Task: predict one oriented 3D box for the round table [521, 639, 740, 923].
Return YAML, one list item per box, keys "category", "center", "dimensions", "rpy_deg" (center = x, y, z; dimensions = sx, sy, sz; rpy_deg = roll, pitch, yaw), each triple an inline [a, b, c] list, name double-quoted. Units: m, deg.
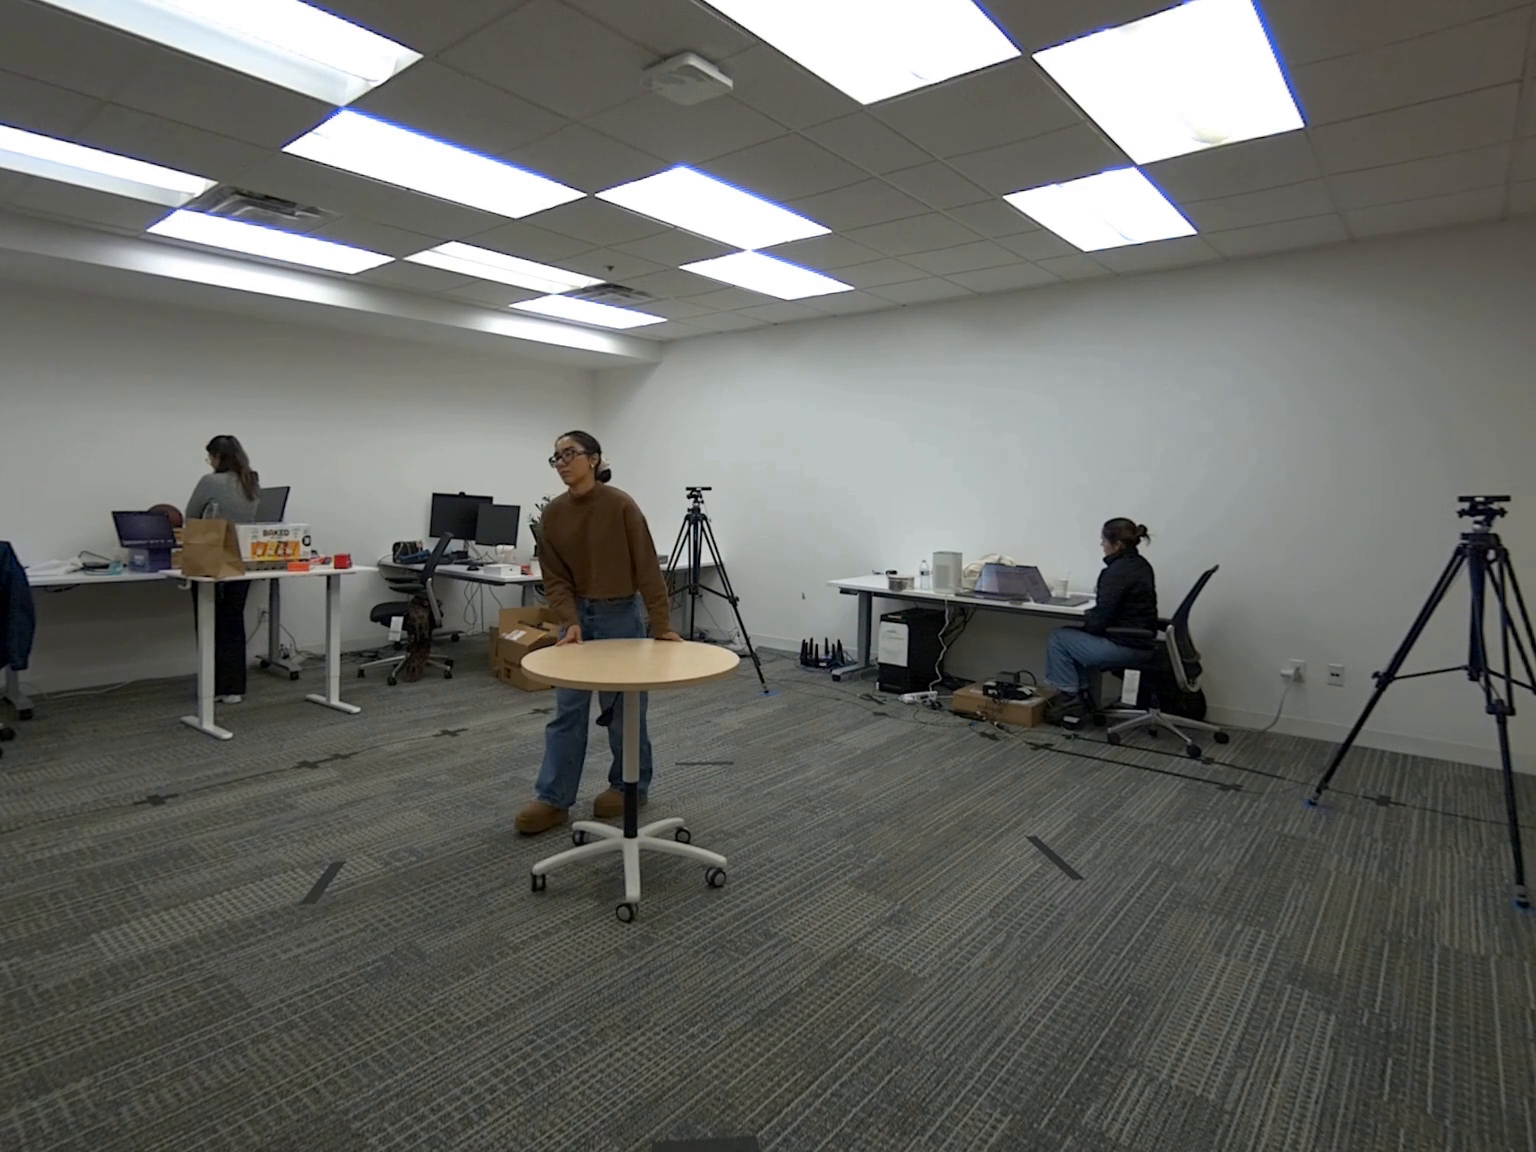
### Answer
- category: "round table"
  center: [-0.499, 0.676, 3.018]
  dimensions: [0.784, 0.784, 0.789]
  rpy_deg: [0, 4, -2]
